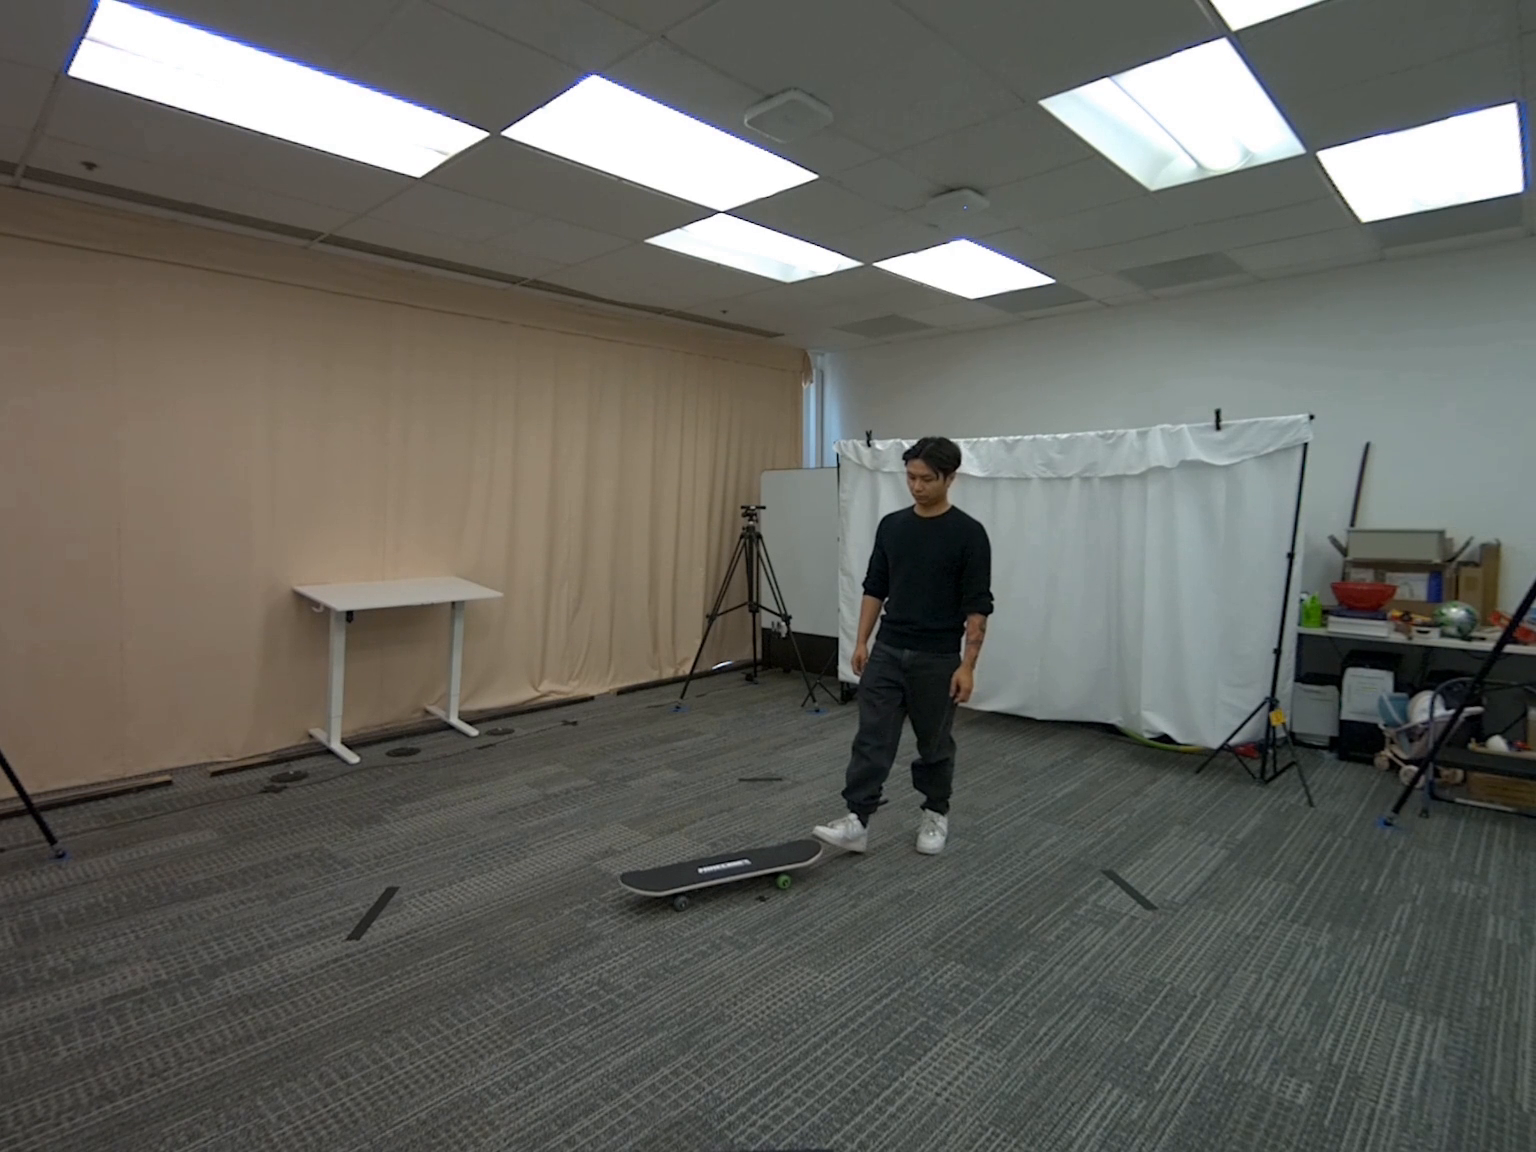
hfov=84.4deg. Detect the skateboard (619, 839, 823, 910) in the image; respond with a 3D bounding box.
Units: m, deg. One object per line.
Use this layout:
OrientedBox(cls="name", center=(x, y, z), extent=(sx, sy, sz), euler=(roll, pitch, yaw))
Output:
OrientedBox(cls="skateboard", center=(-0.154, 1.084, 3.045), extent=(0.768, 0.110, 0.198), euler=(-2, 5, -23))
